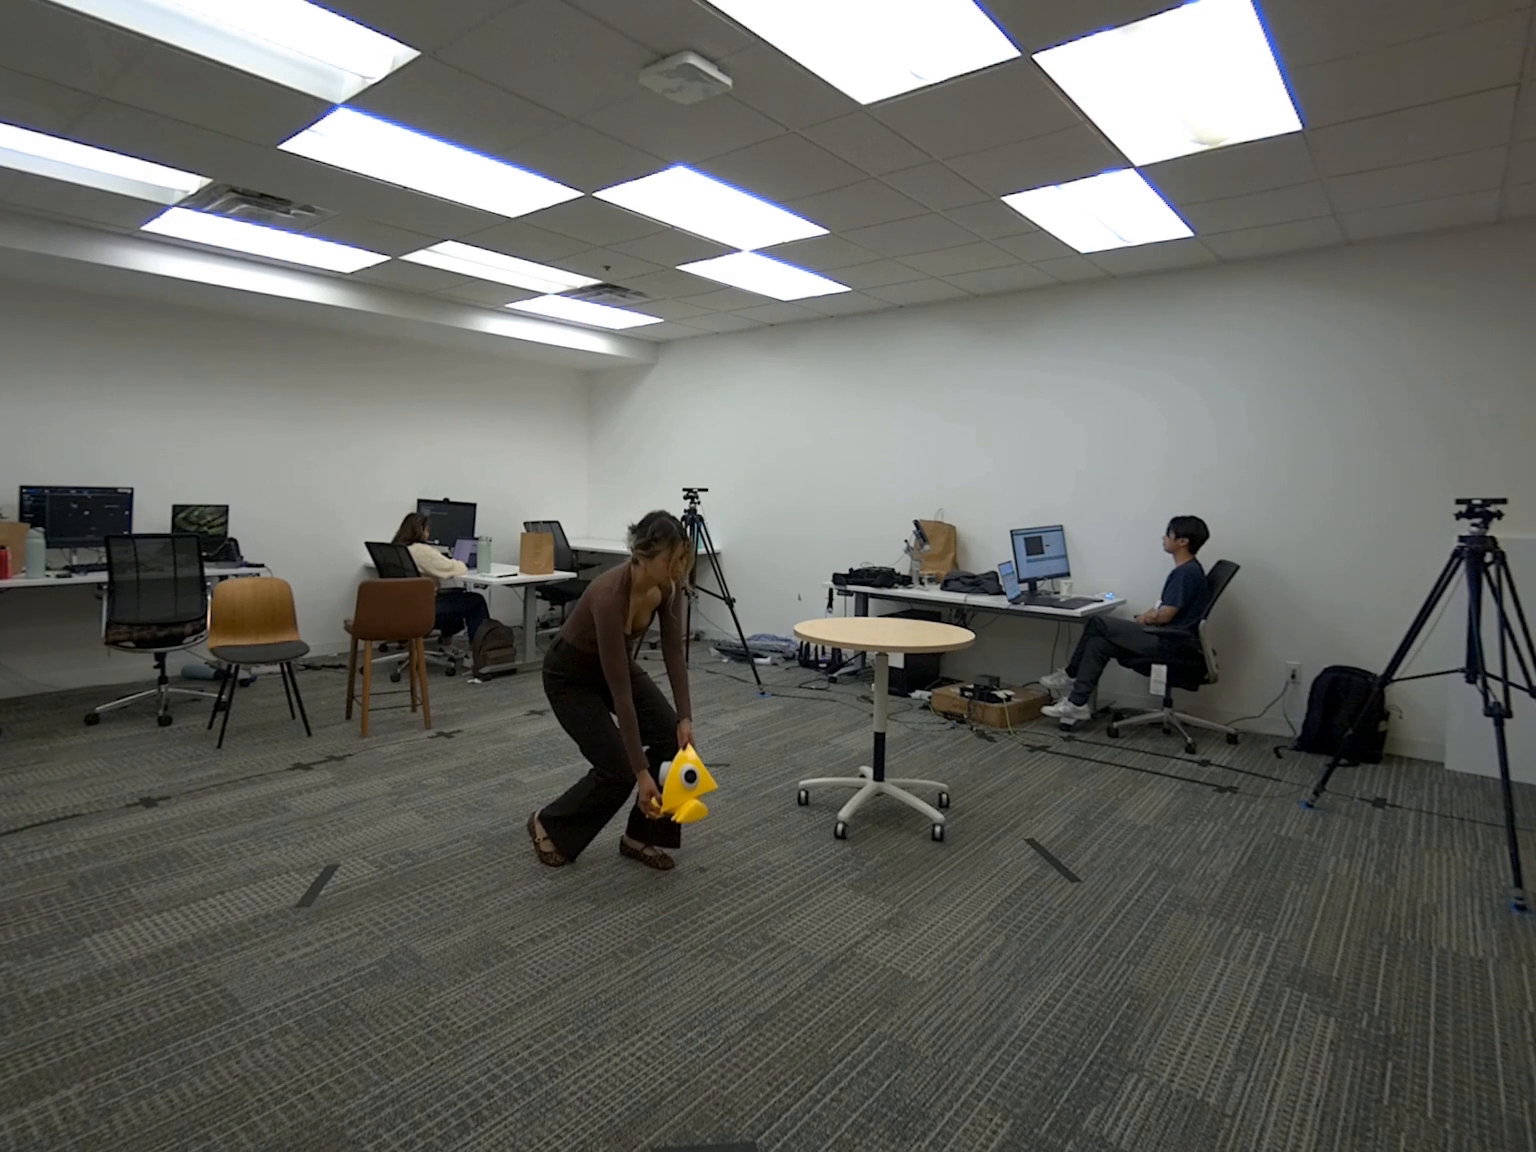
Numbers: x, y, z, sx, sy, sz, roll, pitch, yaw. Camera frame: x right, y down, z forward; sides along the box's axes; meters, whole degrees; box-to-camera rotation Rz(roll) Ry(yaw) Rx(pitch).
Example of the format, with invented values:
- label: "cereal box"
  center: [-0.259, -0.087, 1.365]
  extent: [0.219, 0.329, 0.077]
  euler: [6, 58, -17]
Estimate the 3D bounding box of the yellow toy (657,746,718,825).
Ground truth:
- label: "yellow toy"
  center: [-0.317, 0.682, 2.874]
  extent: [0.210, 0.232, 0.187]
  euler: [-6, -4, 33]
